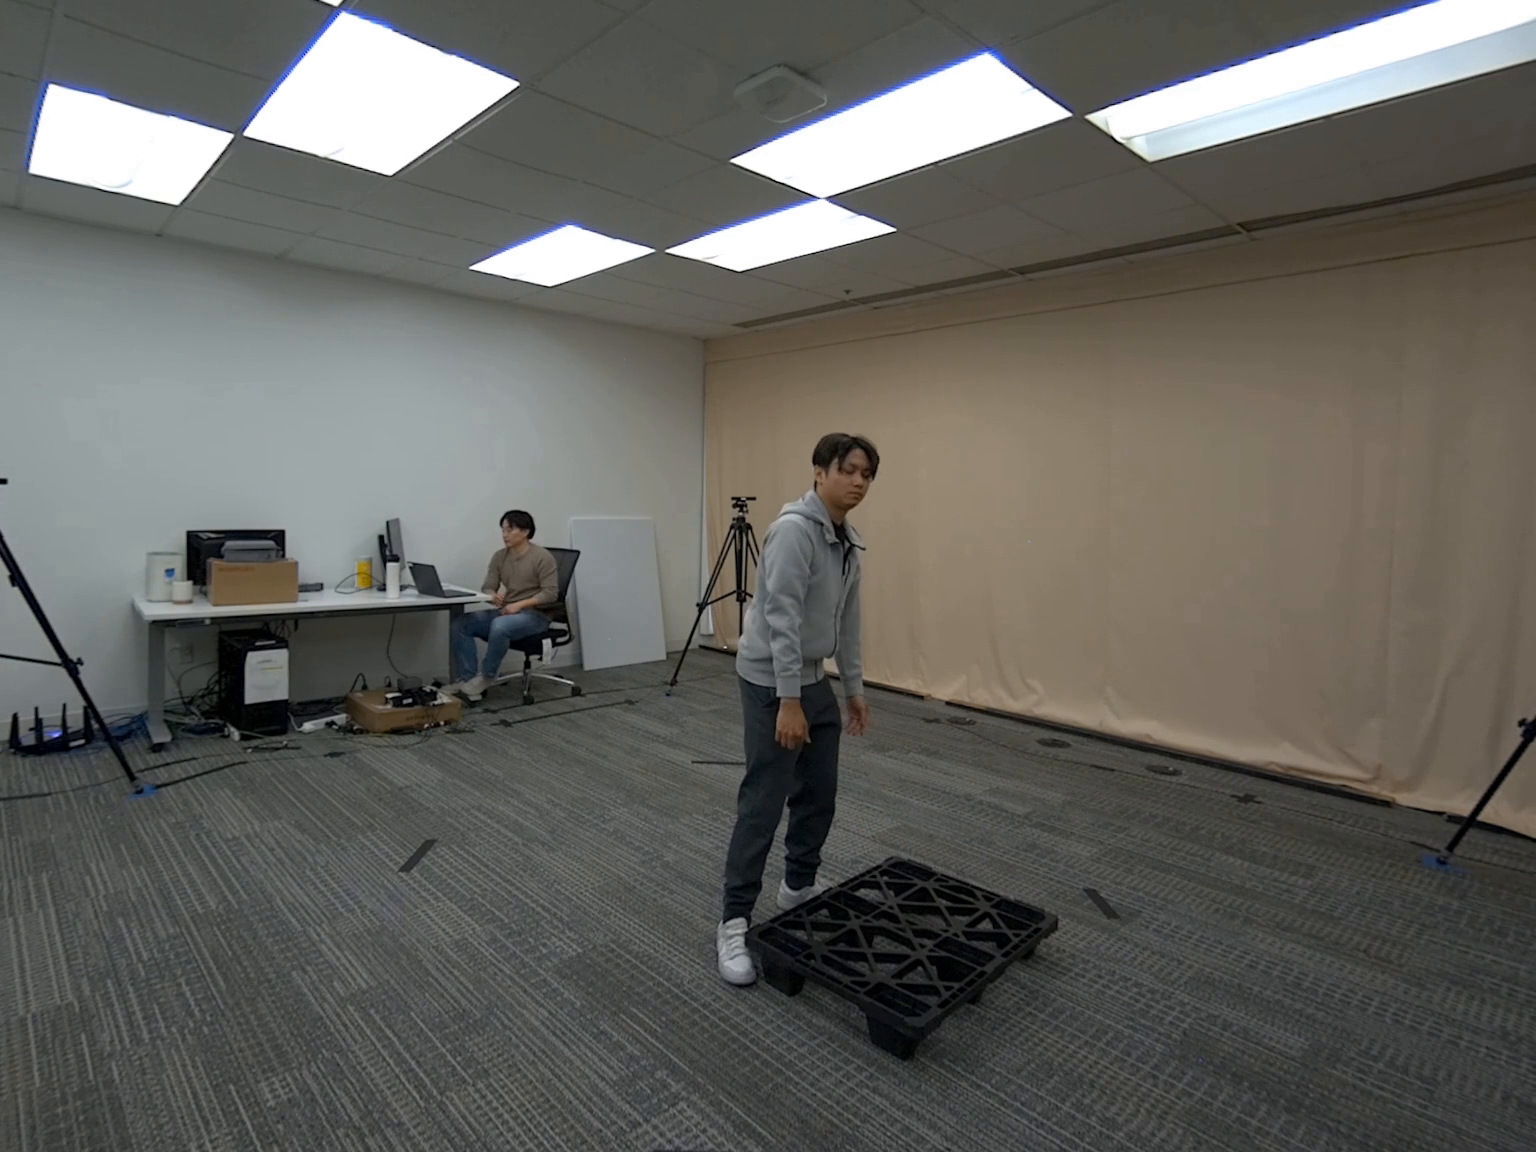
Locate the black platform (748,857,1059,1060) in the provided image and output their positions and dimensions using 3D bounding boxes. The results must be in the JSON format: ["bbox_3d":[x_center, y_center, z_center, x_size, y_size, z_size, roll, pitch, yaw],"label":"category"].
[{"bbox_3d":[0.400,1.110,2.518,0.621,0.143,0.787,6,7,42],"label":"black platform"}]
